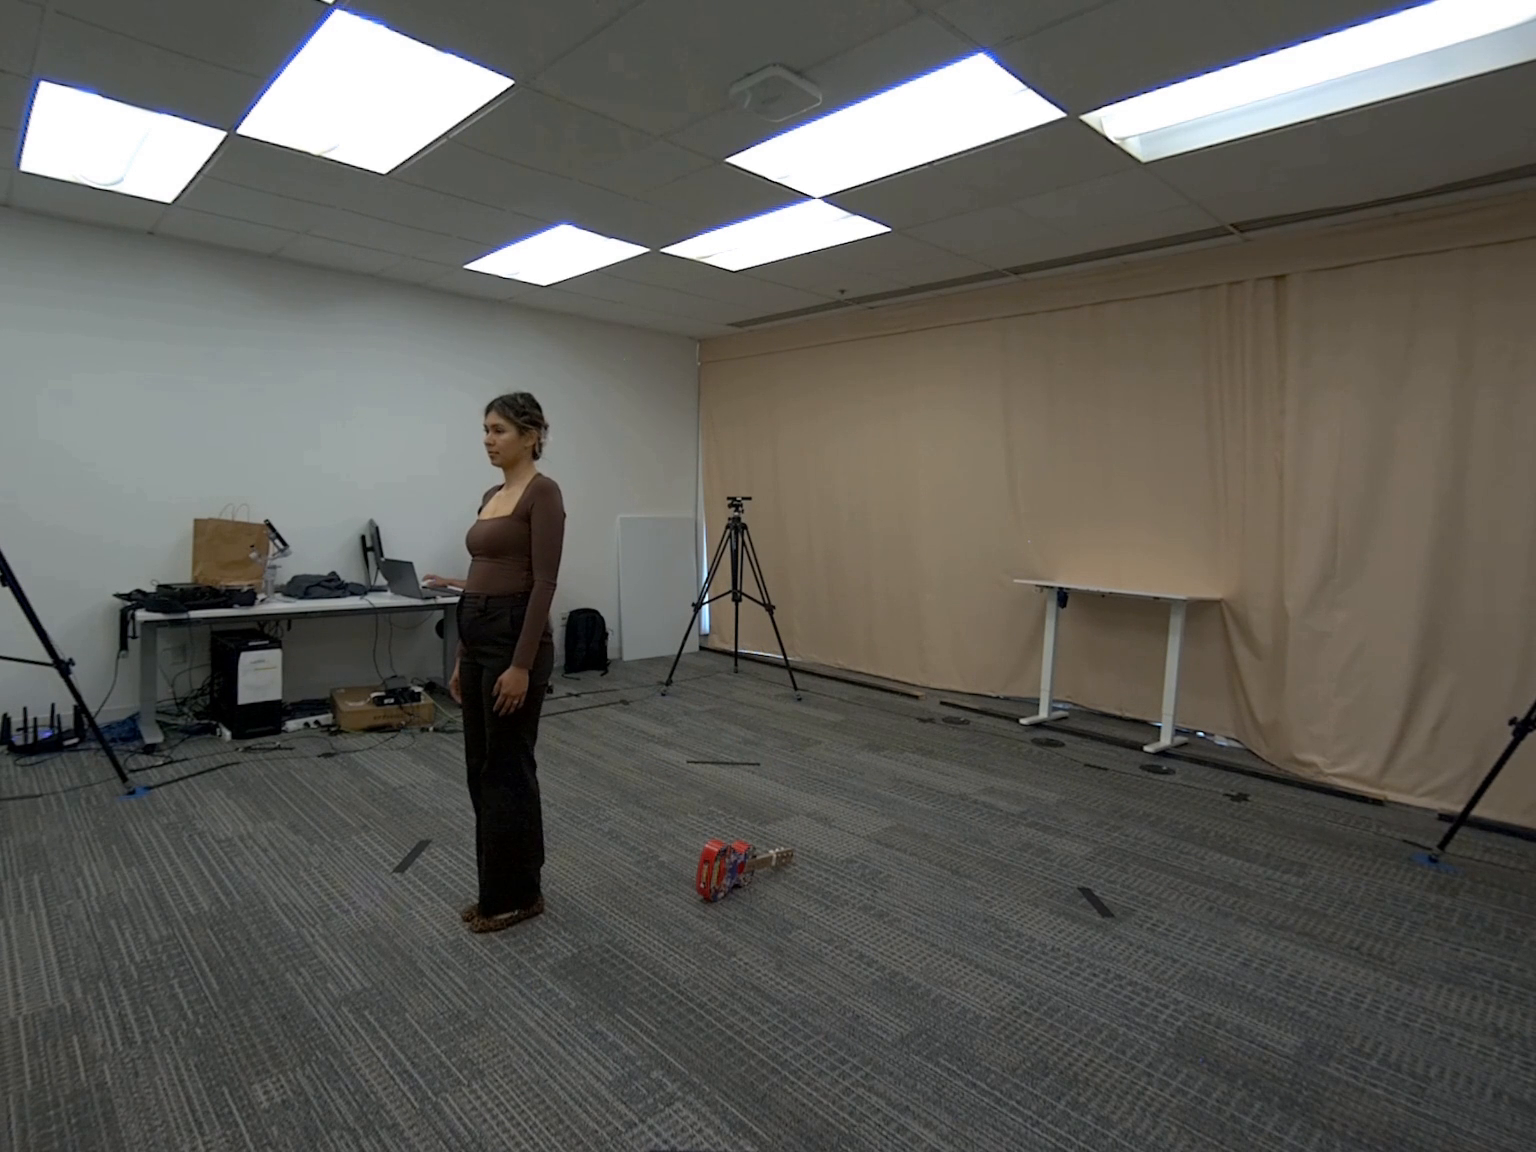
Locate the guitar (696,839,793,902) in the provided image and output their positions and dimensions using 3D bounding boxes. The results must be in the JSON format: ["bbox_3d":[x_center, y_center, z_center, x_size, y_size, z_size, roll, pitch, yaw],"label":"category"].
[{"bbox_3d":[-0.086,1.070,3.058,0.072,0.194,0.483,5,-12,38],"label":"guitar"}]
